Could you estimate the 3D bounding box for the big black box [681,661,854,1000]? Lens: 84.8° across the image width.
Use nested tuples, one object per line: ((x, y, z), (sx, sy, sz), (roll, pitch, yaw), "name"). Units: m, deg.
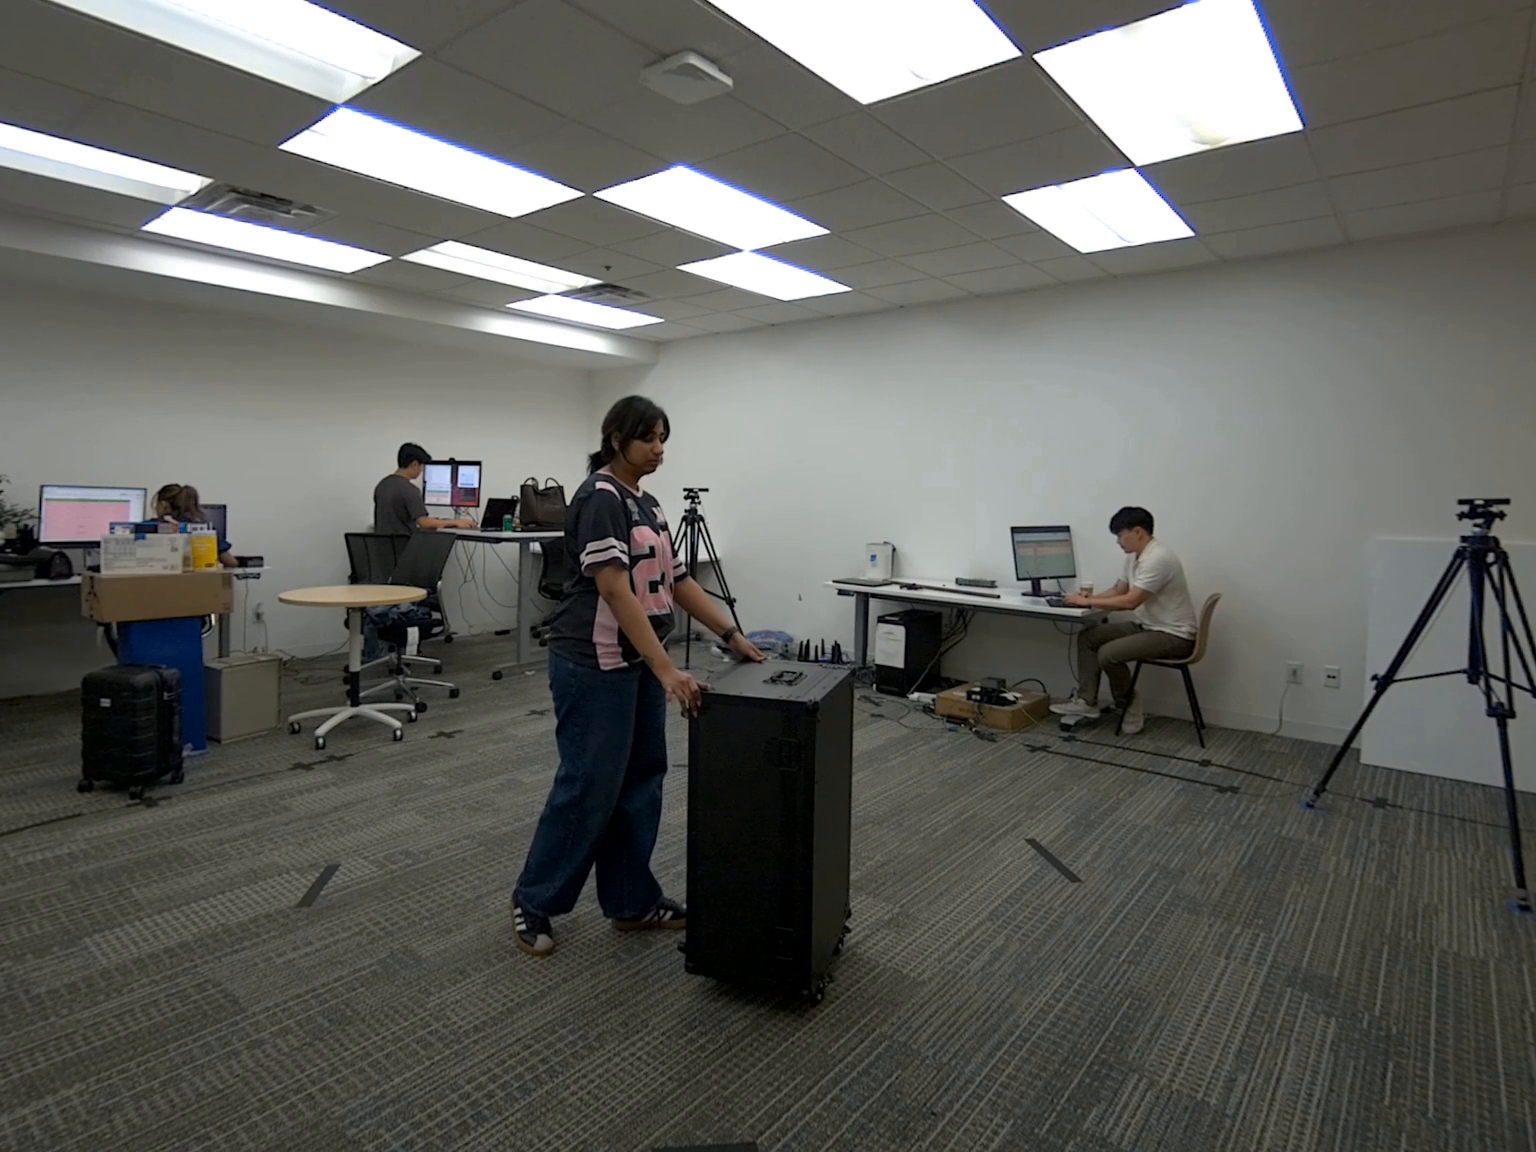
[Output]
((0.009, 0.720, 2.445), (0.393, 0.866, 0.514), (2, 3, 18), "big black box")
